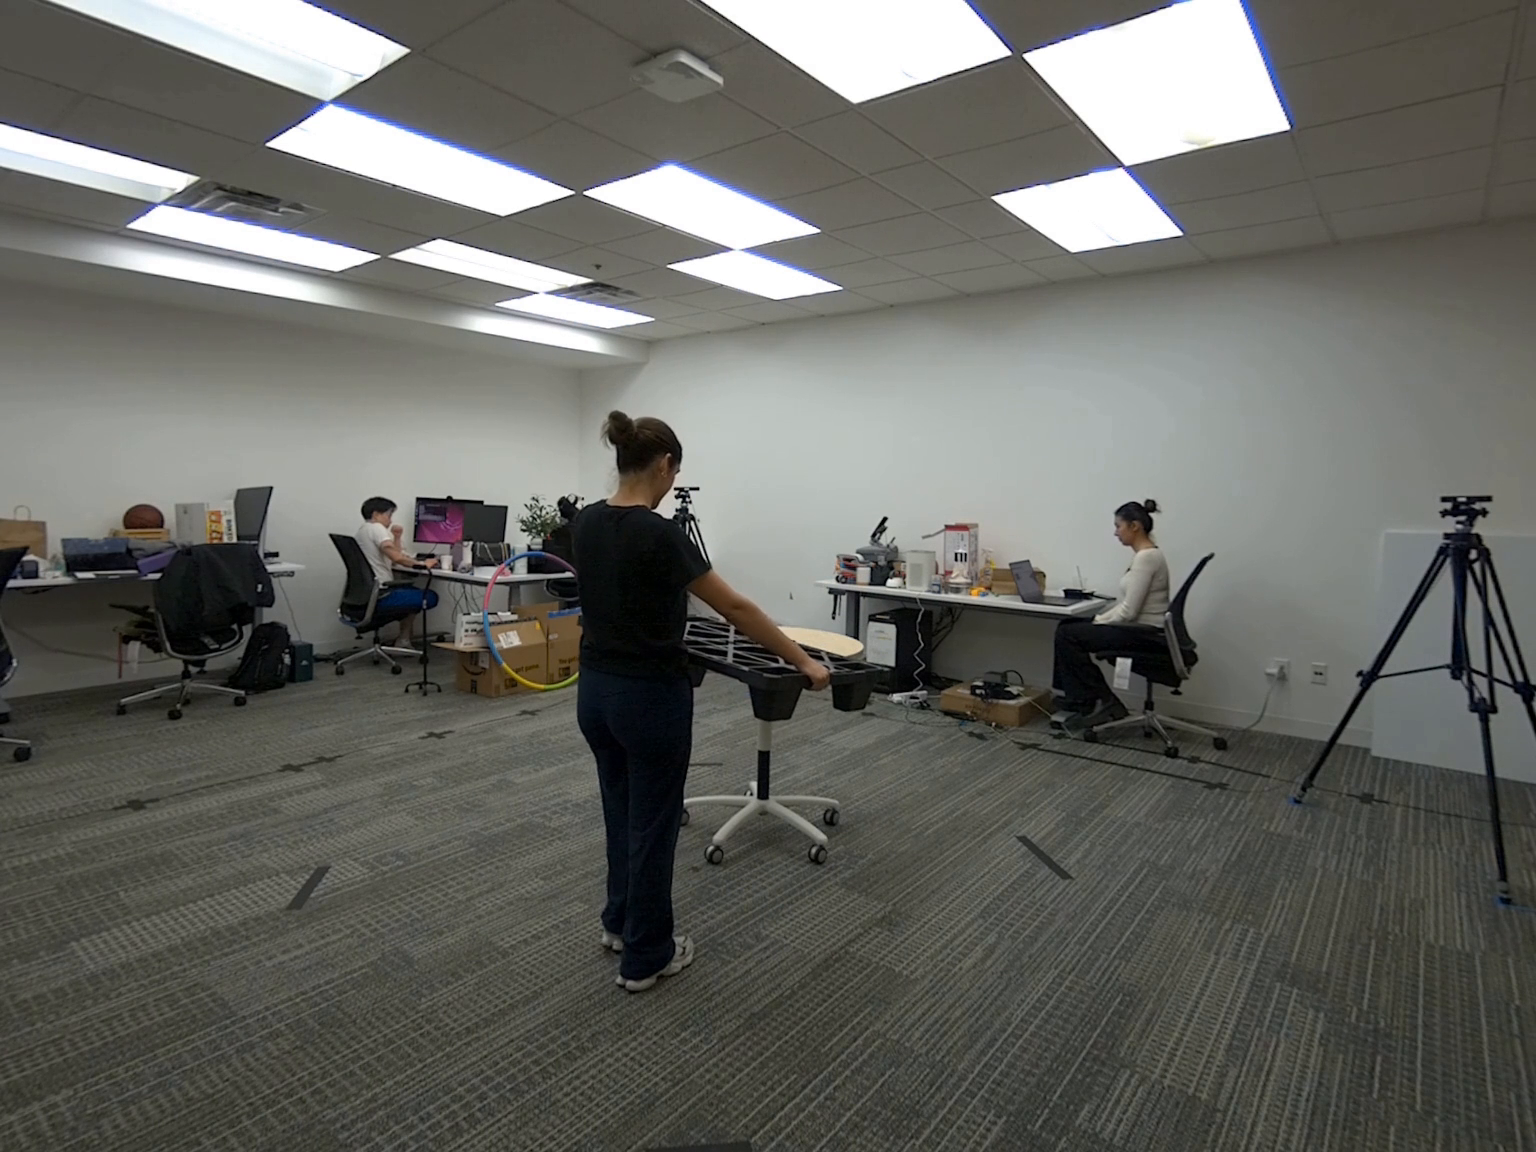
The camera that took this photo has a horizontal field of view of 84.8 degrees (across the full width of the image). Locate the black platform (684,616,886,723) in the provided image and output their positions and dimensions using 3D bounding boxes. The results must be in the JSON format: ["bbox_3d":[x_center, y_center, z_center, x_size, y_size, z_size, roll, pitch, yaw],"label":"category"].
[{"bbox_3d":[-0.108,0.255,2.638,0.836,0.143,0.584,13,6,42],"label":"black platform"}]
